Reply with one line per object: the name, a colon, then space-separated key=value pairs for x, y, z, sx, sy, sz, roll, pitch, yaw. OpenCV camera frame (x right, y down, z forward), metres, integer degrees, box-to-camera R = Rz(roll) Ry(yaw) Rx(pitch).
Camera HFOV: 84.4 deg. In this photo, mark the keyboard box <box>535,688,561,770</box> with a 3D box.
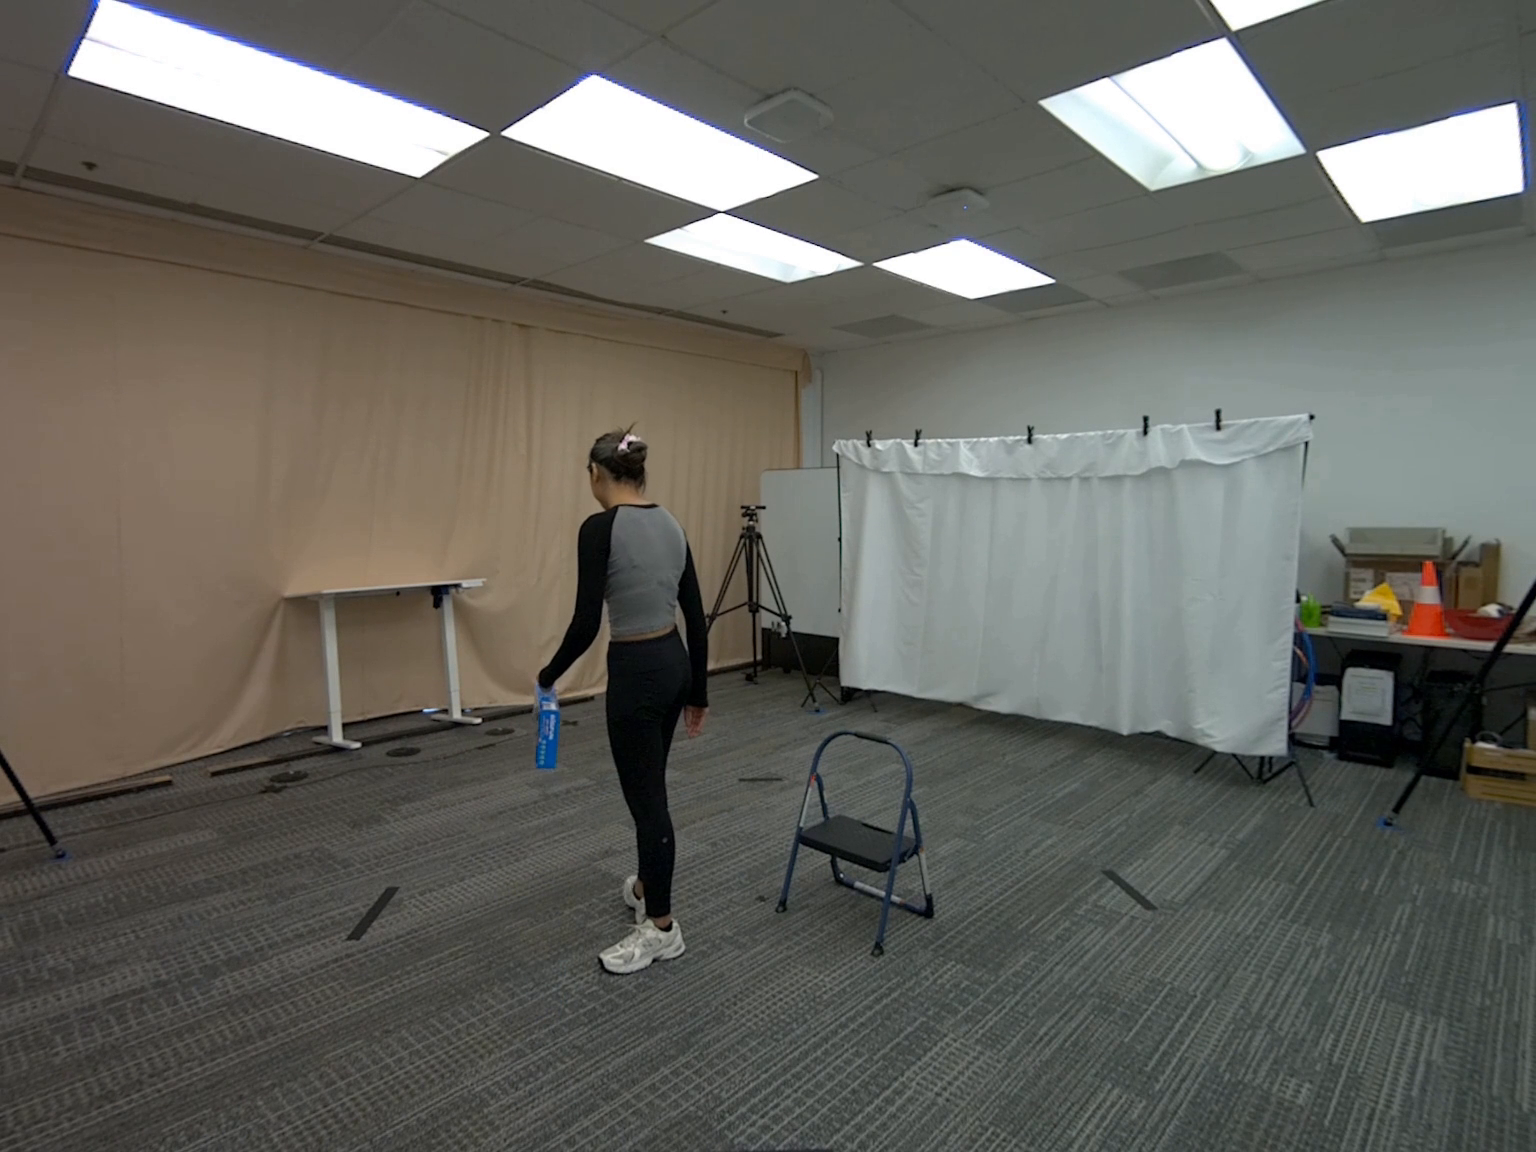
keyboard box: x=-0.698 y=0.458 z=2.648 sx=0.058 sy=0.175 sz=0.445 roll=3 pitch=4 yaw=-17
